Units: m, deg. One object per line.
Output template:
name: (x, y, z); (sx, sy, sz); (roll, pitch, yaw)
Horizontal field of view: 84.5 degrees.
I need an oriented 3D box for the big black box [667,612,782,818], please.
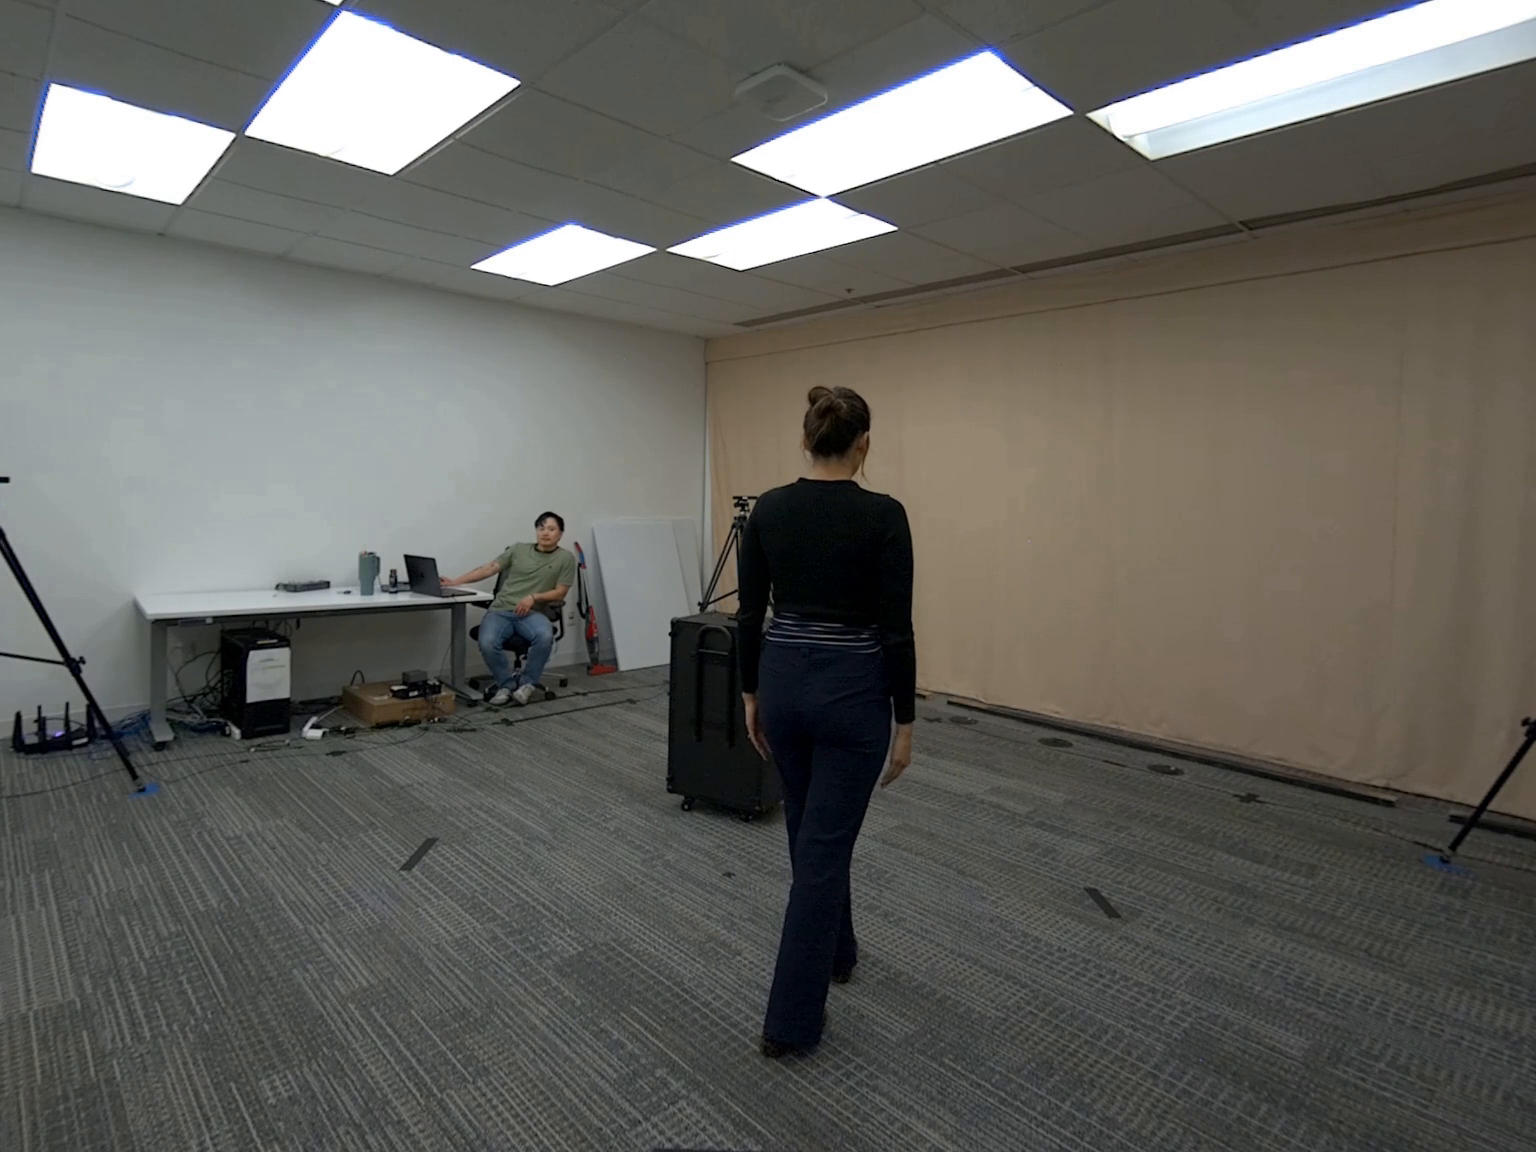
big black box: (-0.157, 0.620, 3.762); (0.532, 0.859, 0.389); (4, 5, 29)
